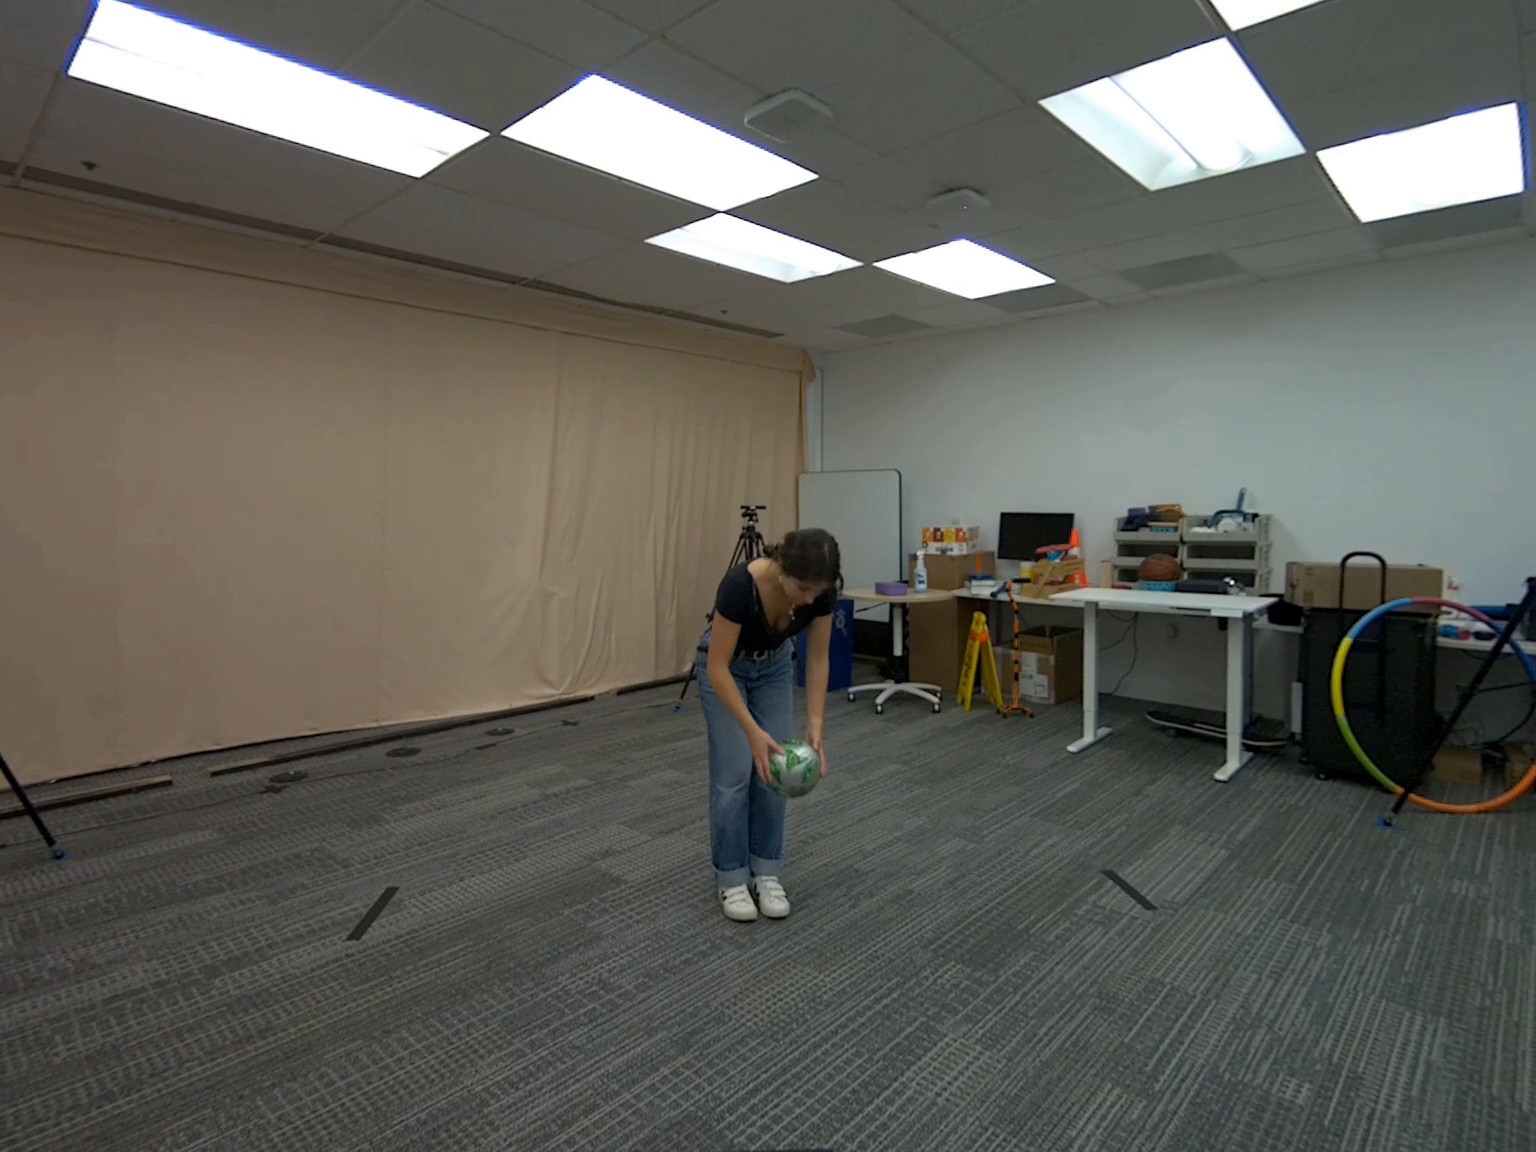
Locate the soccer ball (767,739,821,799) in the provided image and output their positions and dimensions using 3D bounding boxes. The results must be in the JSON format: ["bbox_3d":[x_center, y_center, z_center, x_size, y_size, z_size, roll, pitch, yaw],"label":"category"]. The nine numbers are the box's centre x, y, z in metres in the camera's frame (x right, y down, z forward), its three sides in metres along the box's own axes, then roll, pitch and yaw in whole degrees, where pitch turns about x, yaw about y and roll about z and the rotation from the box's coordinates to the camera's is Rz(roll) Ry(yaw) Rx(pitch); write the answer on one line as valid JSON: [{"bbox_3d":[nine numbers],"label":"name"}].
[{"bbox_3d":[0.079,0.612,2.689,0.187,0.187,0.188,0,4,-2],"label":"soccer ball"}]
